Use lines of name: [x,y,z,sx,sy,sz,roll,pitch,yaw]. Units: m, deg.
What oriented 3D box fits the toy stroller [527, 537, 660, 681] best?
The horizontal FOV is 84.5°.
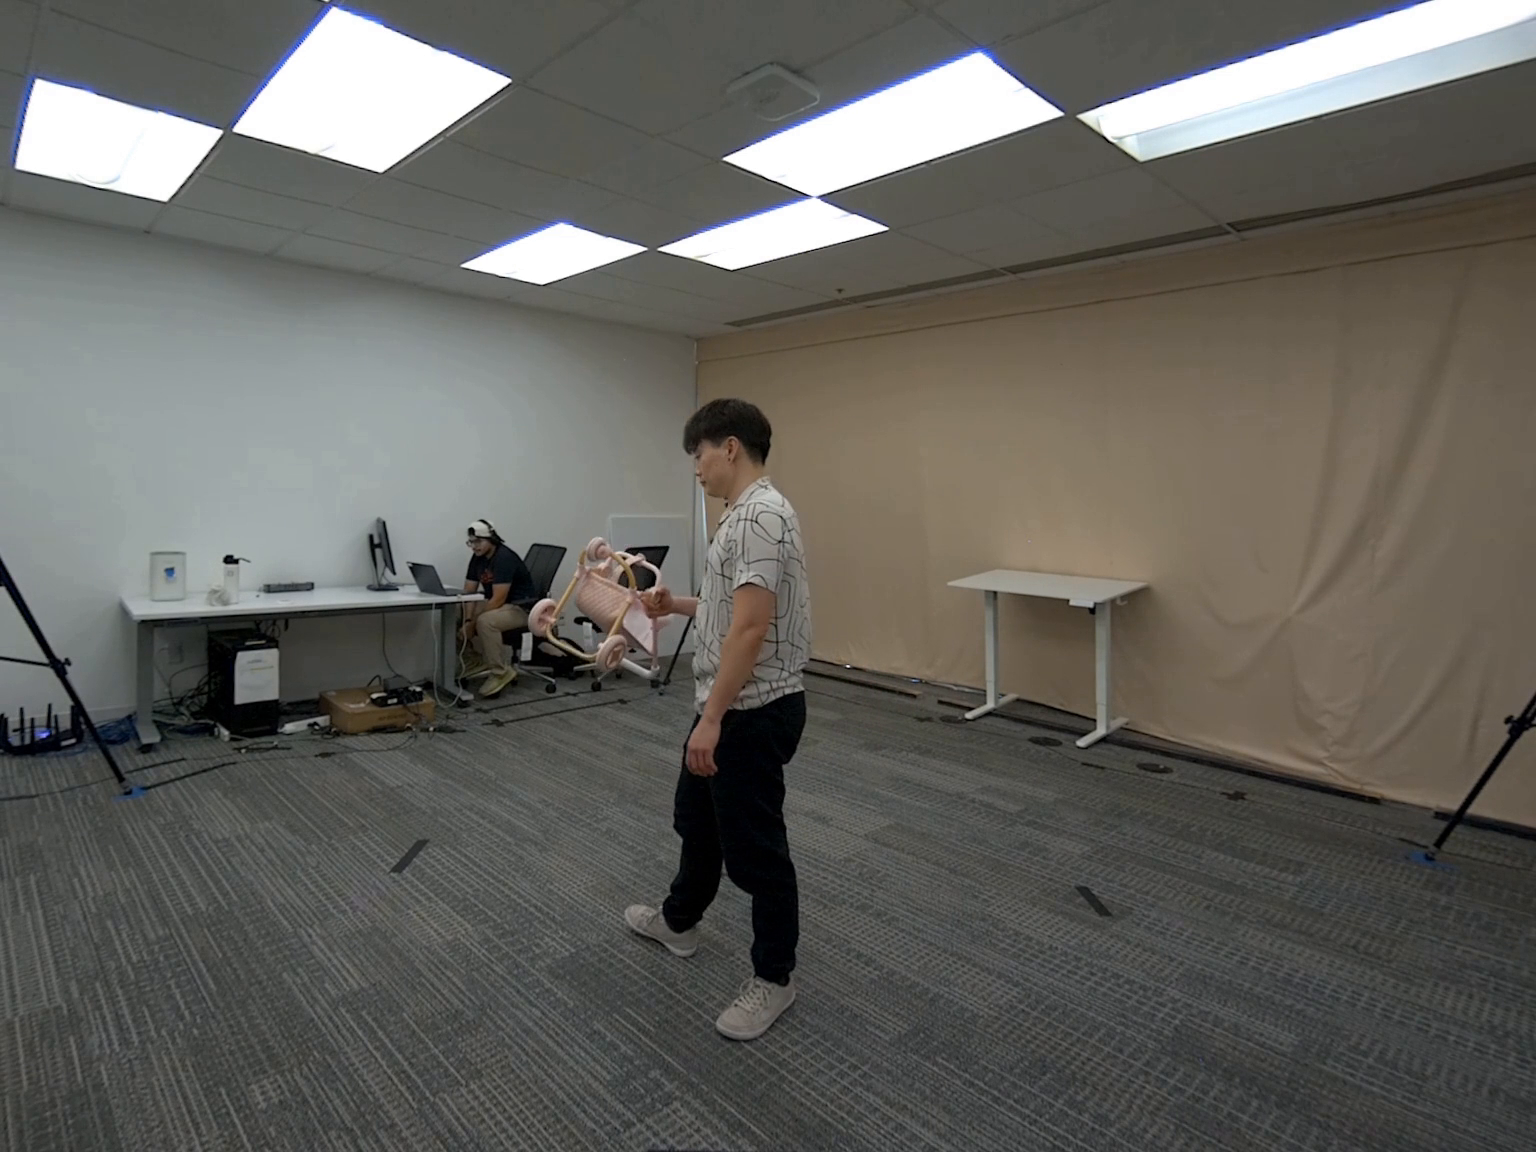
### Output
toy stroller: [-0.453,0.097,2.466,0.287,0.342,0.522,18,-6,23]
